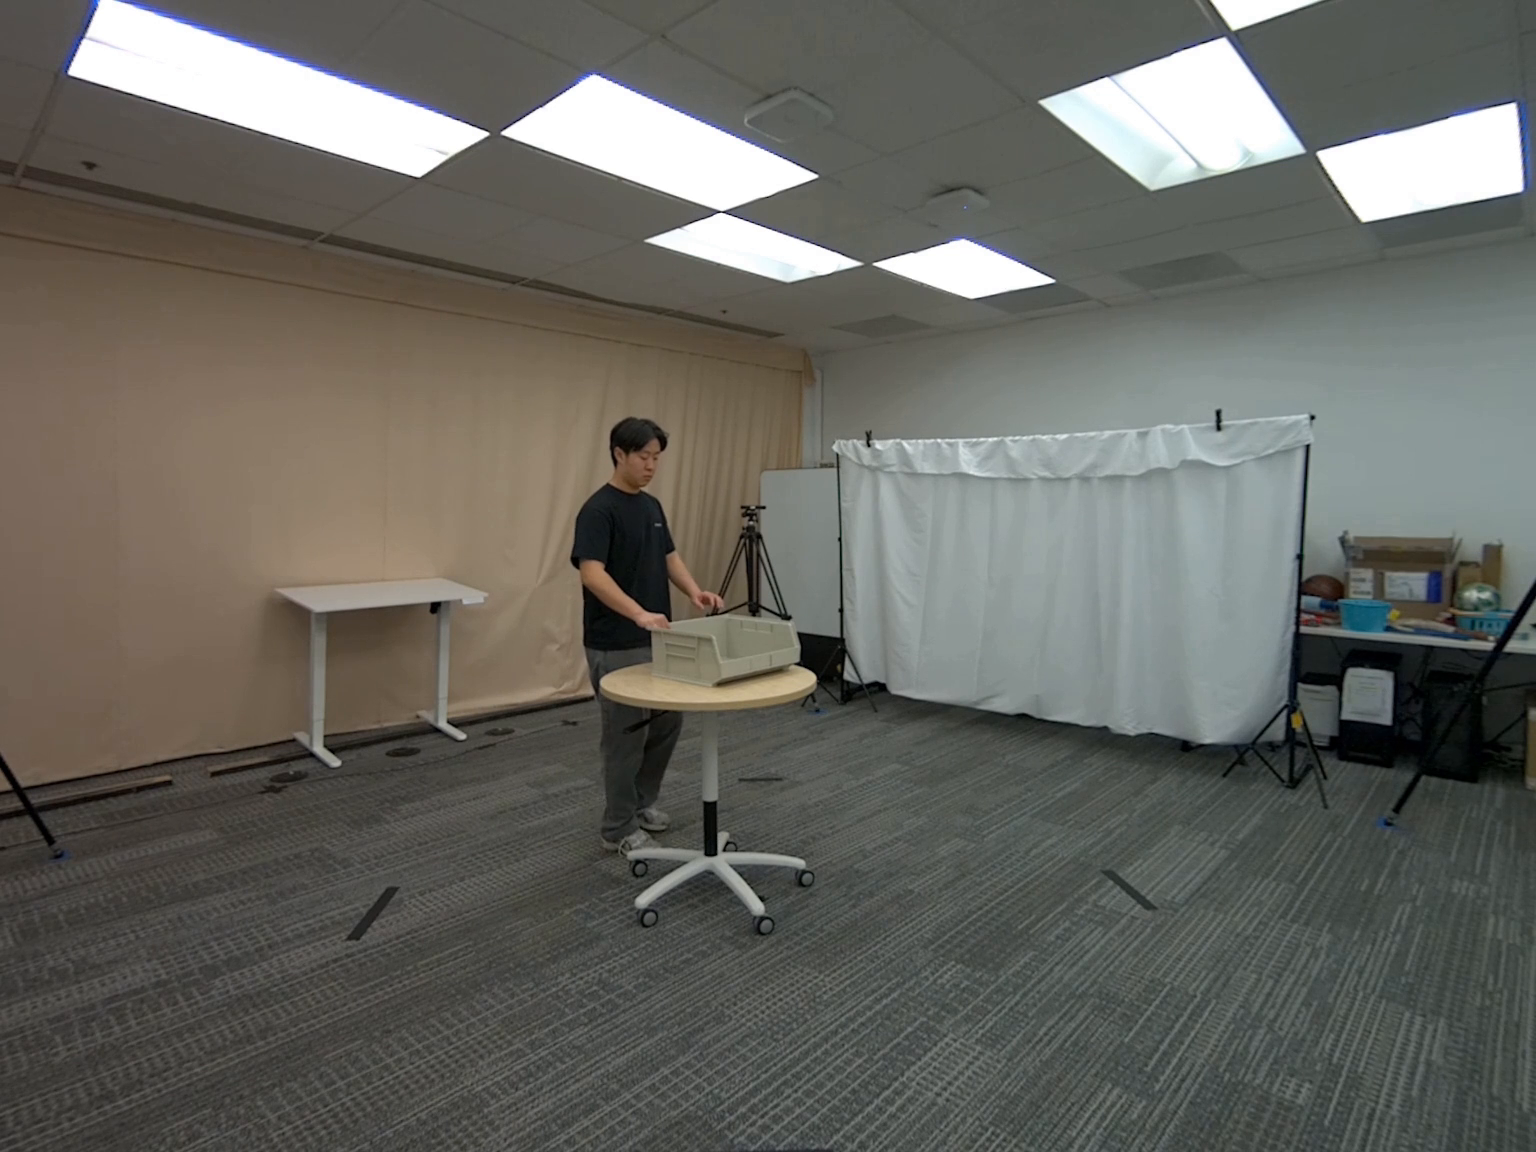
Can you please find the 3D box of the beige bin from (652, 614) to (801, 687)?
[{"bbox_3d":[-0.157,0.268,3.061,0.390,0.188,0.410,2,6,44],"label":"beige bin"}]
